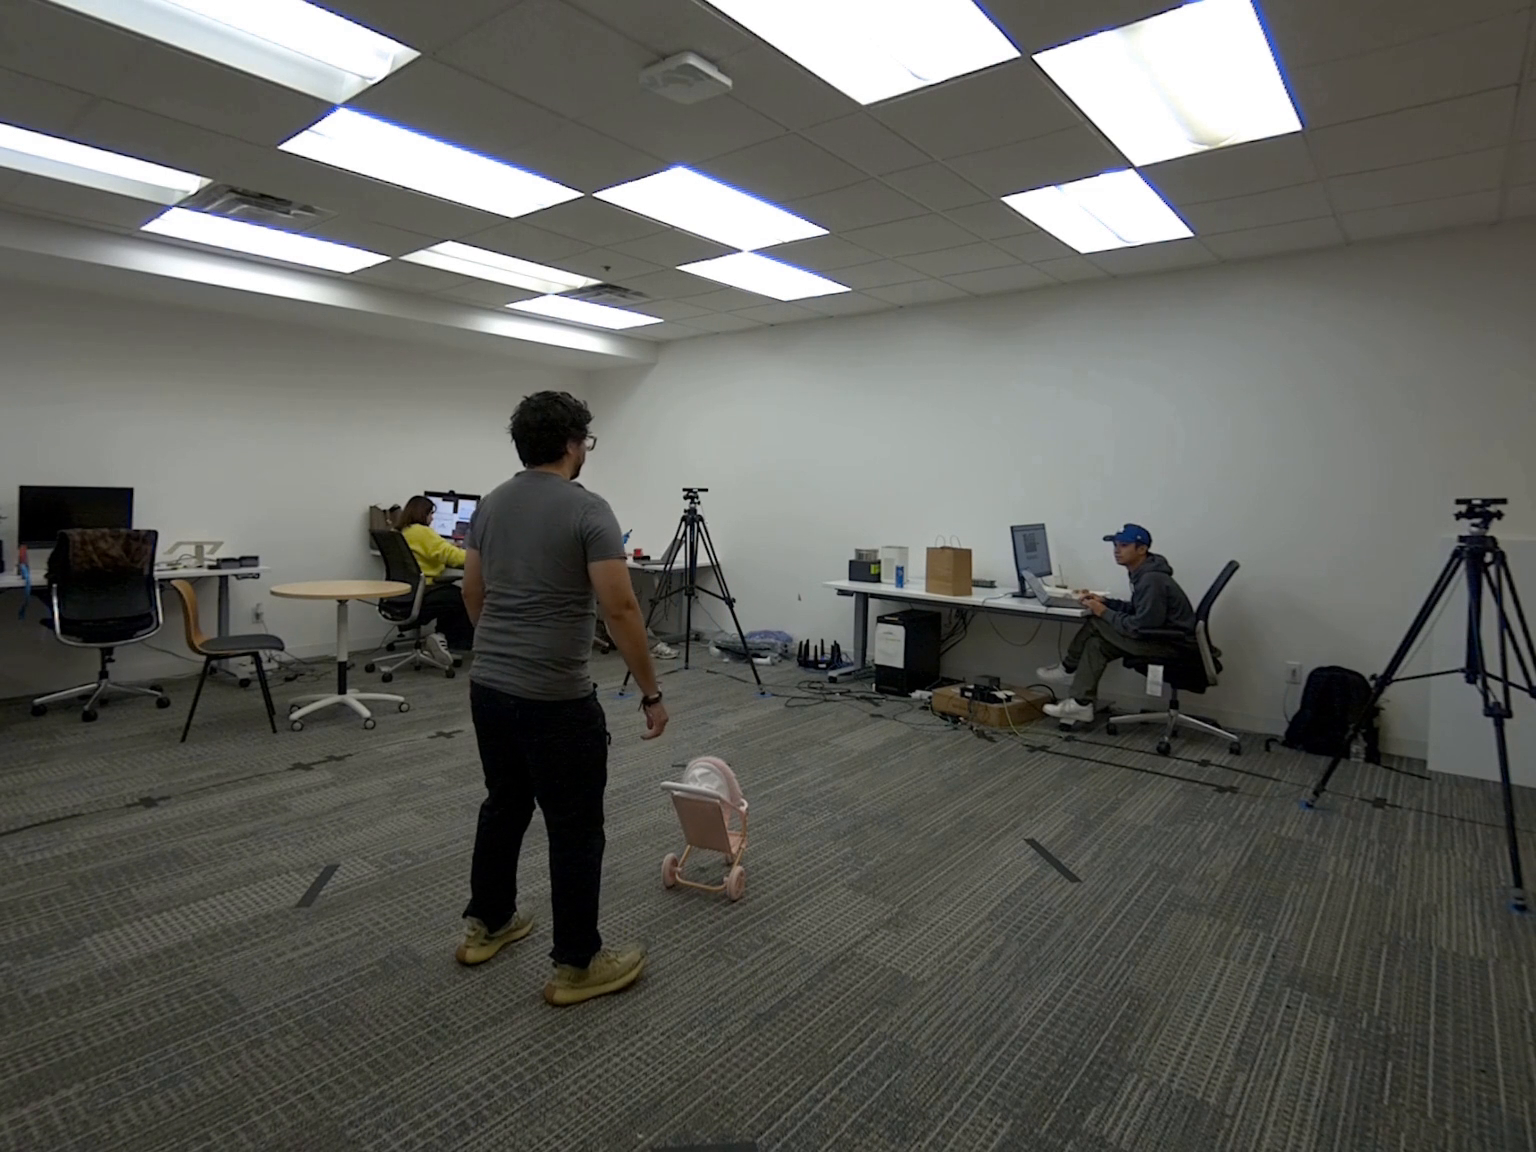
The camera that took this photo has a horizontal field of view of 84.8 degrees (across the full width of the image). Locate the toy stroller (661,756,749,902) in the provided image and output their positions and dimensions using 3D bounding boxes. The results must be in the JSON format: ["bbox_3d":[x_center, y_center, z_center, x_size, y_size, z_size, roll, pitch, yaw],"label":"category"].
[{"bbox_3d":[-0.209,0.858,2.980,0.289,0.525,0.339,3,21,25],"label":"toy stroller"}]
